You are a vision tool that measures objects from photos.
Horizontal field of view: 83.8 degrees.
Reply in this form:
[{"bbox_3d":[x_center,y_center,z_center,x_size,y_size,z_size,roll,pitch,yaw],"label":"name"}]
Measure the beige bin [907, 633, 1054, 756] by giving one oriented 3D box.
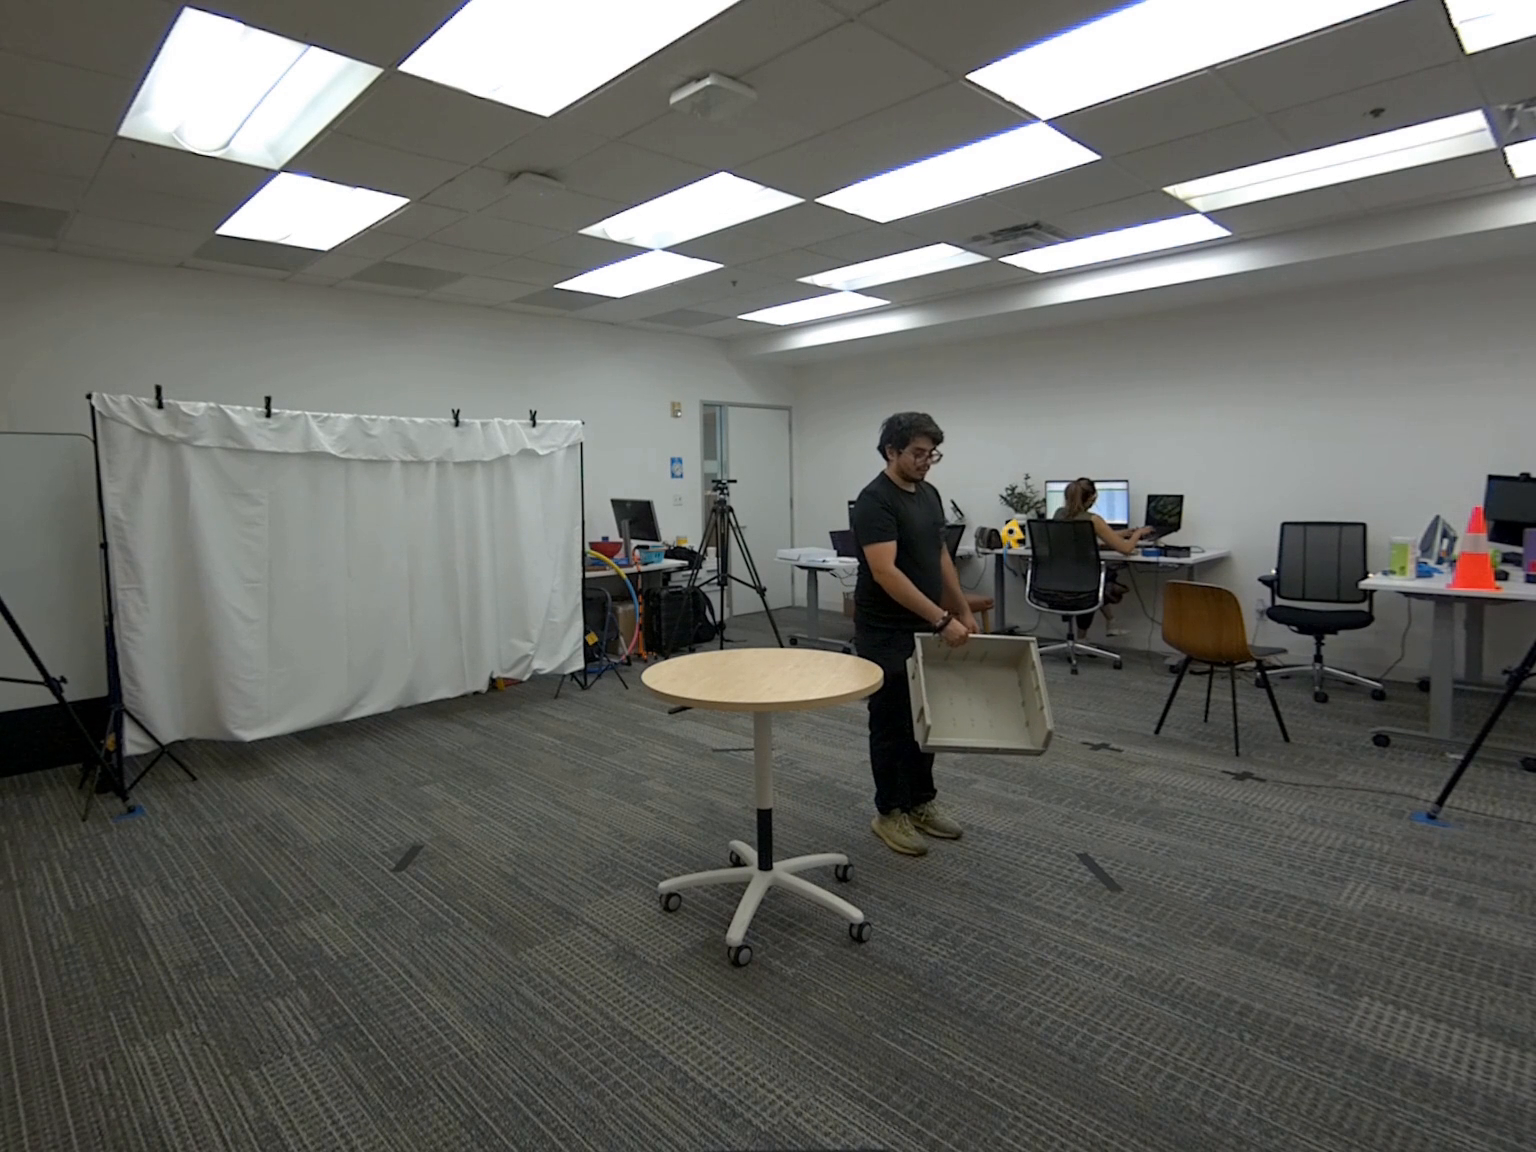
[{"bbox_3d":[0.730,0.415,2.937,0.423,0.387,0.184,1,-36,2],"label":"beige bin"}]
